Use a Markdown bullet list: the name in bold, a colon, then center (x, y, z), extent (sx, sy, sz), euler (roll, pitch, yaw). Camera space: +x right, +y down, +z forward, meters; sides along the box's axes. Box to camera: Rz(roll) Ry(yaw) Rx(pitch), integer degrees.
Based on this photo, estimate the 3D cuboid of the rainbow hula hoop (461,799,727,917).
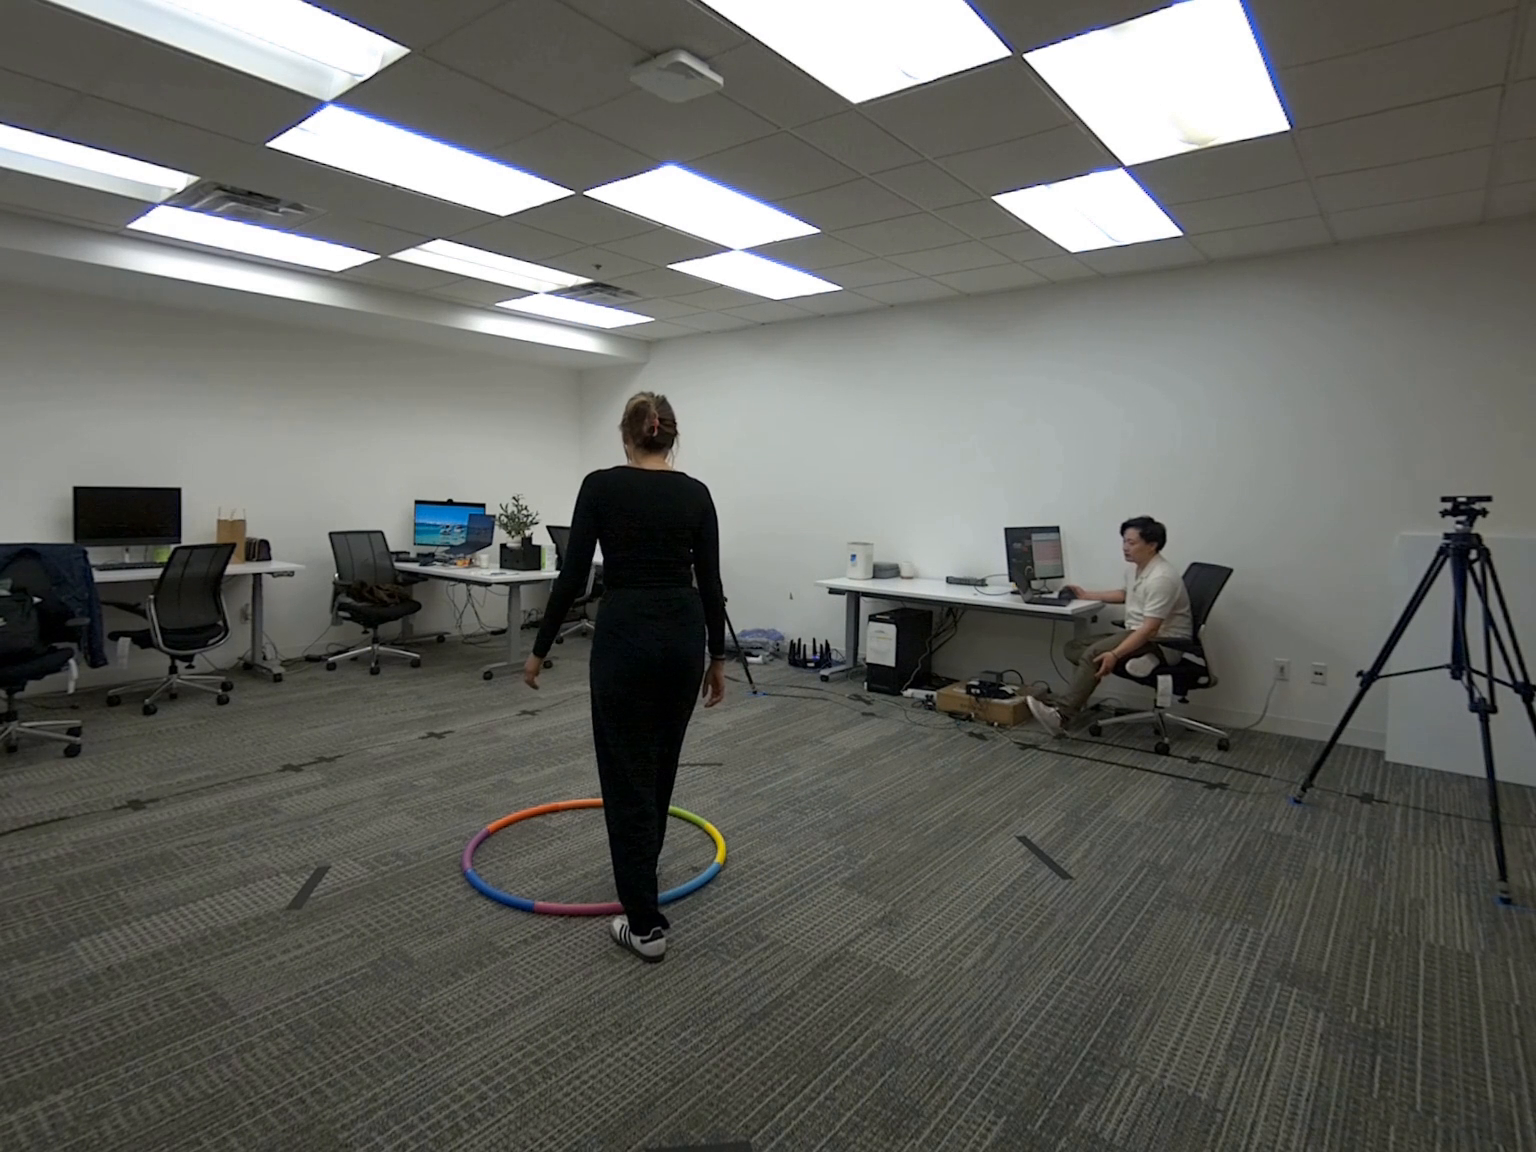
- **rainbow hula hoop**: center (-0.656, 1.019, 3.223), extent (0.978, 0.035, 0.984), euler (1, 6, -2)
